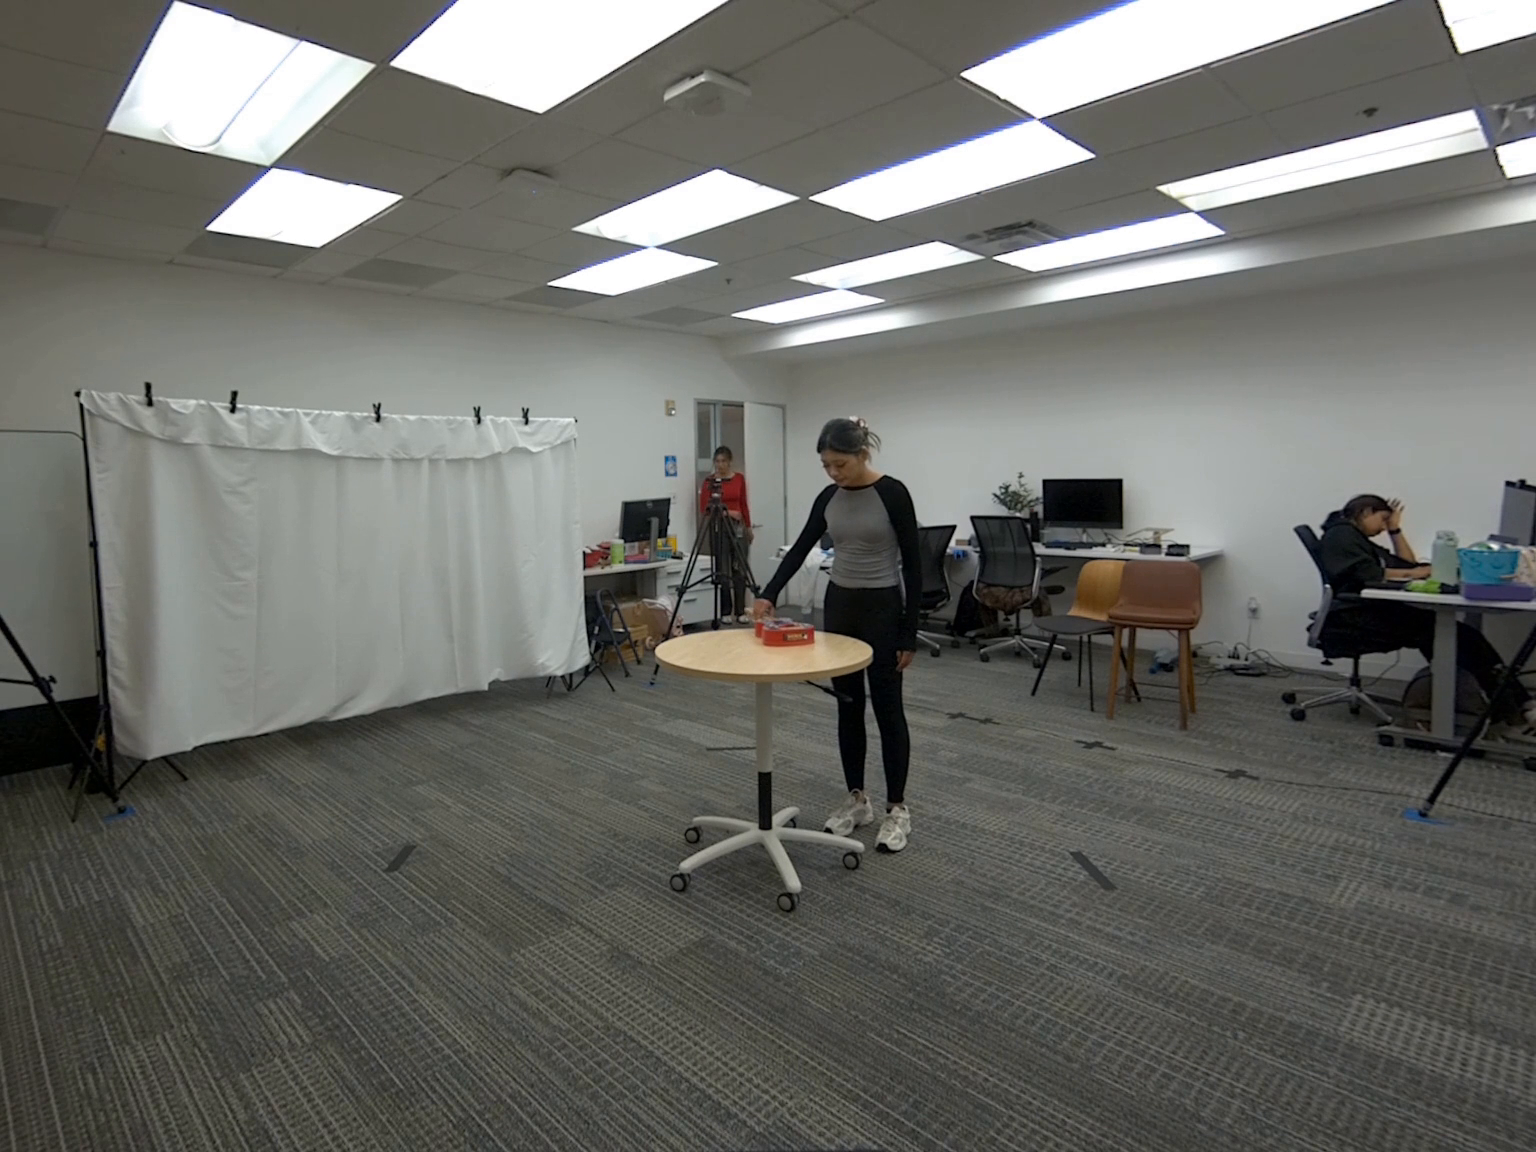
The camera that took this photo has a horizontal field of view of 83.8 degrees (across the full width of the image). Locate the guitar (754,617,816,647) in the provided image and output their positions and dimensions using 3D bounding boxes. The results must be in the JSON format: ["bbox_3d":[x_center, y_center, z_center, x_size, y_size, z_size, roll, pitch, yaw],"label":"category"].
[{"bbox_3d":[0.043,0.189,3.300,0.191,0.070,0.505,-1,8,-11],"label":"guitar"}]
